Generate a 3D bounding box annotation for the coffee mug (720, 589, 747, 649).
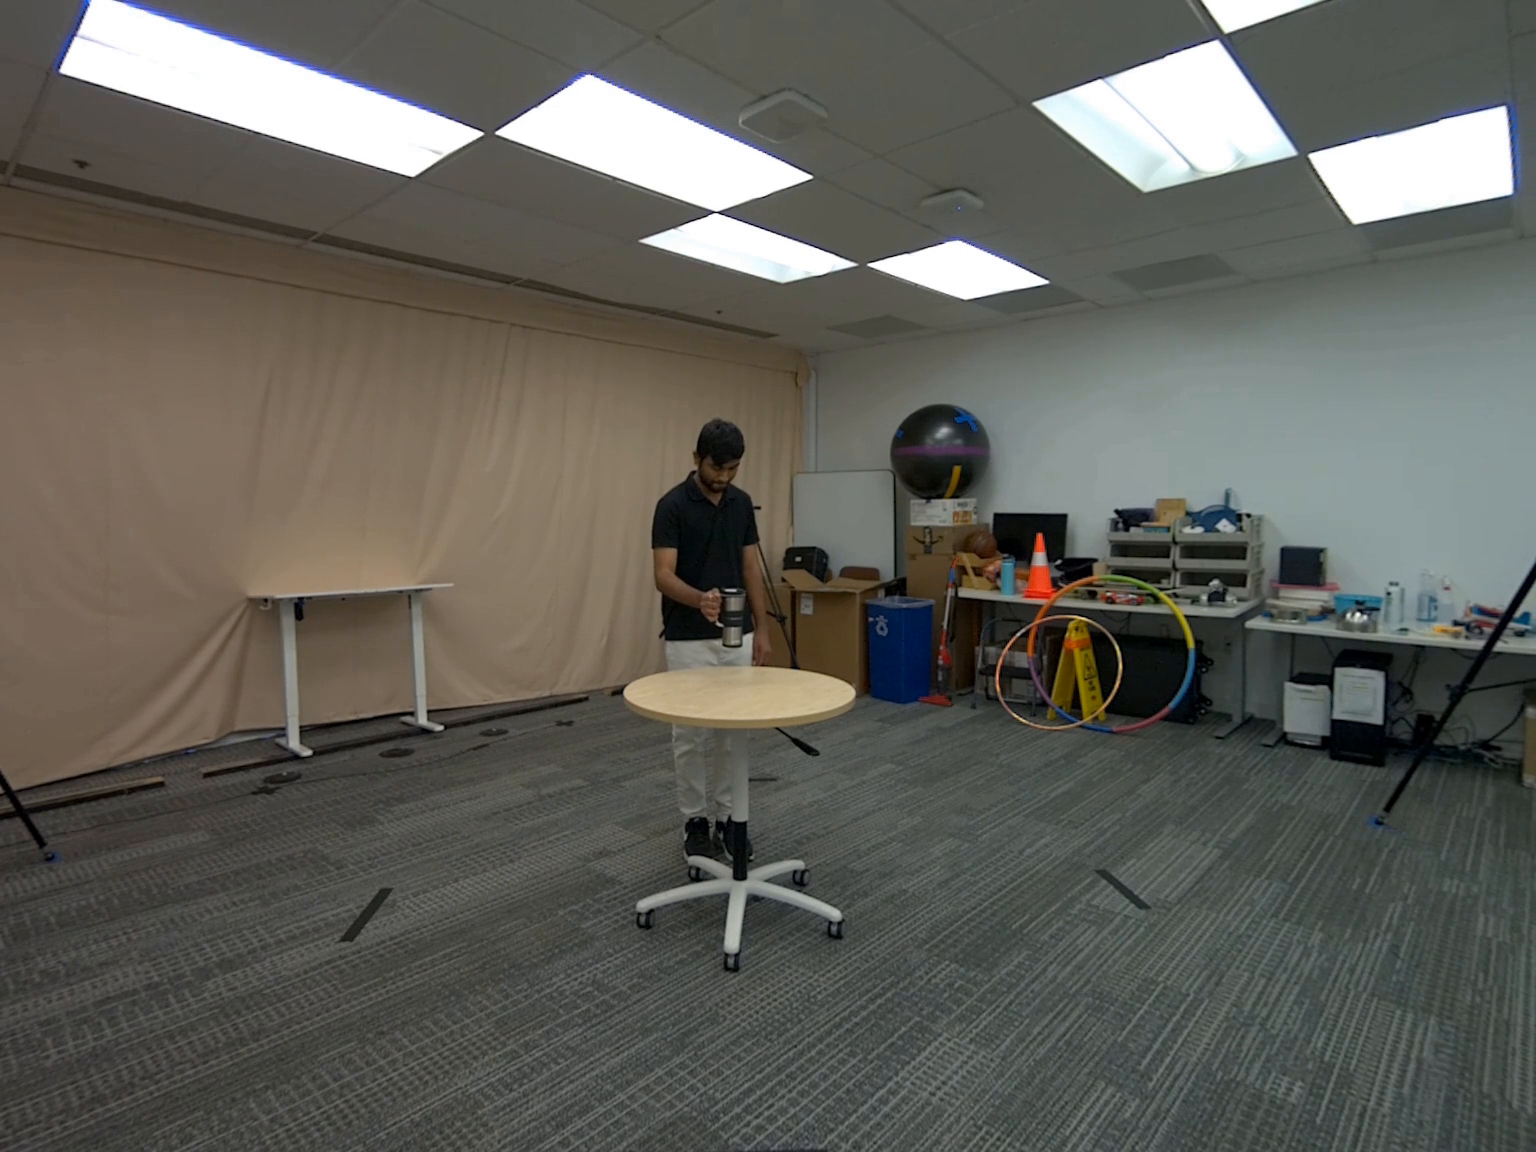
[{"bbox_3d":[-0.145,0.145,2.964,0.125,0.202,0.086,7,8,27],"label":"coffee mug"}]
